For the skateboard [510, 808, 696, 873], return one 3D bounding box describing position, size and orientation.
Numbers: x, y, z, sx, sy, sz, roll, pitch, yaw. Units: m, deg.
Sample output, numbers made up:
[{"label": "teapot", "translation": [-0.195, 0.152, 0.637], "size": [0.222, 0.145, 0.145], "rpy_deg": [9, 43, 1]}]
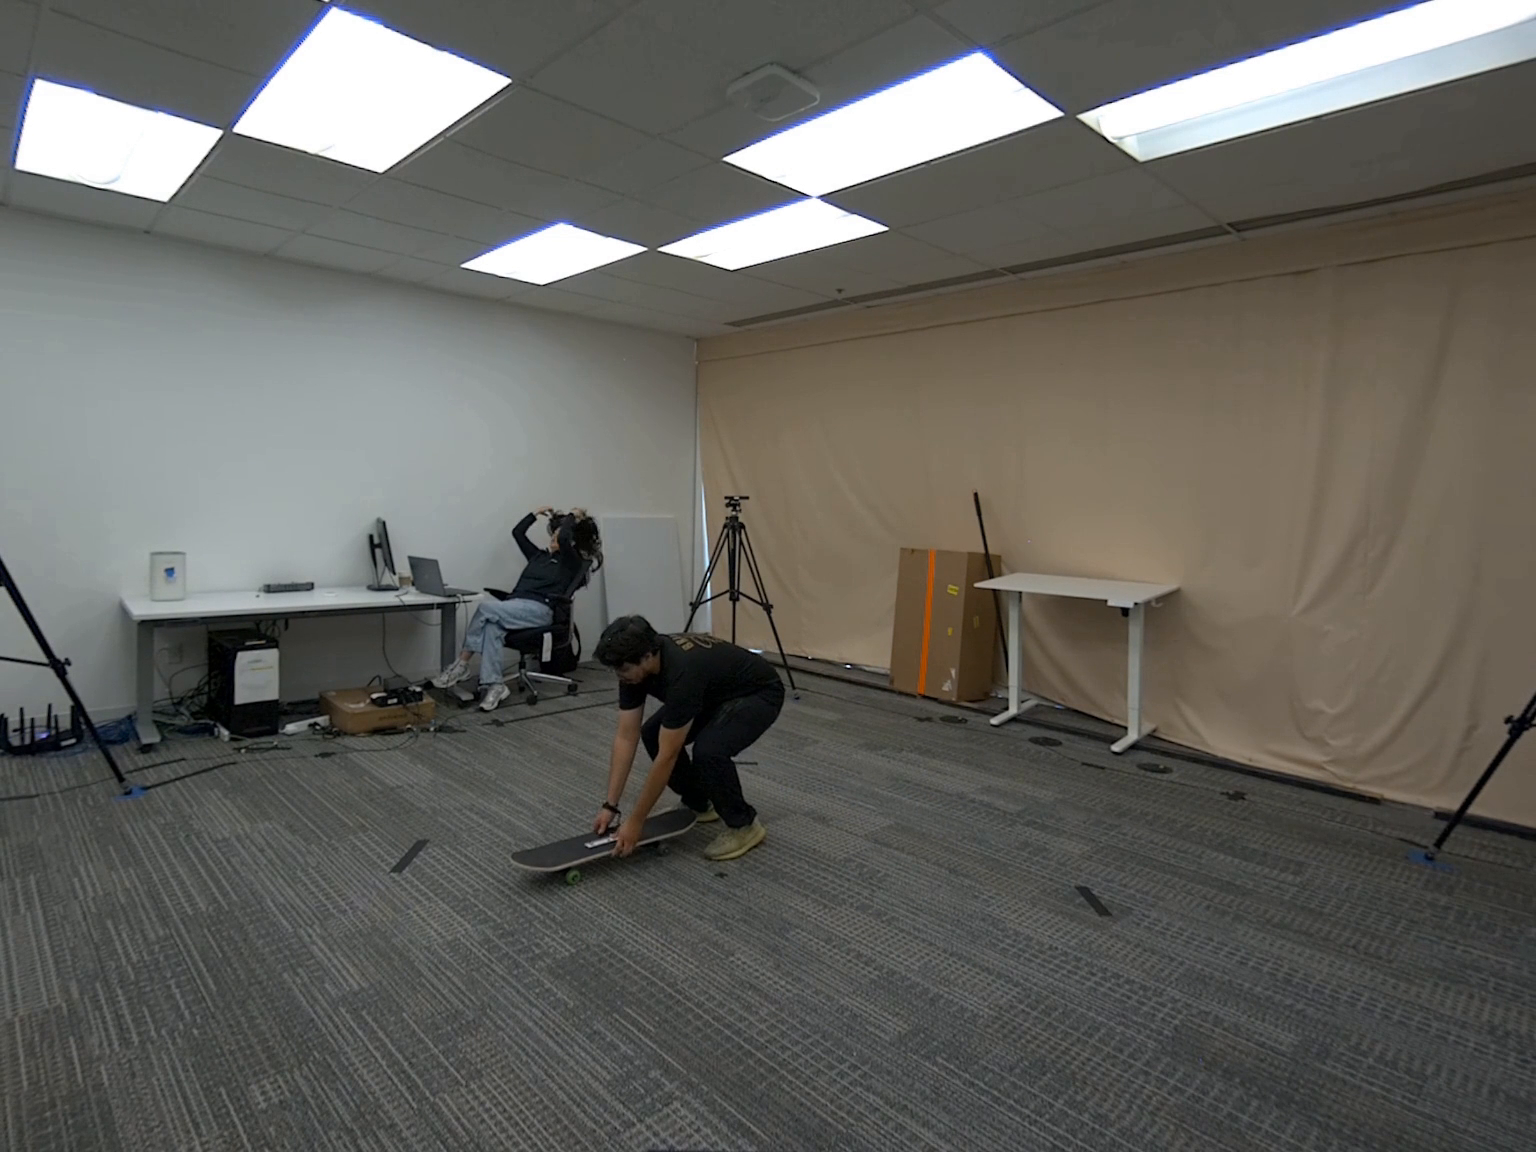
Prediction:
[{"label": "skateboard", "translation": [-0.605, 1.030, 3.192], "size": [0.767, 0.110, 0.198], "rpy_deg": [-3, 6, -42]}]
